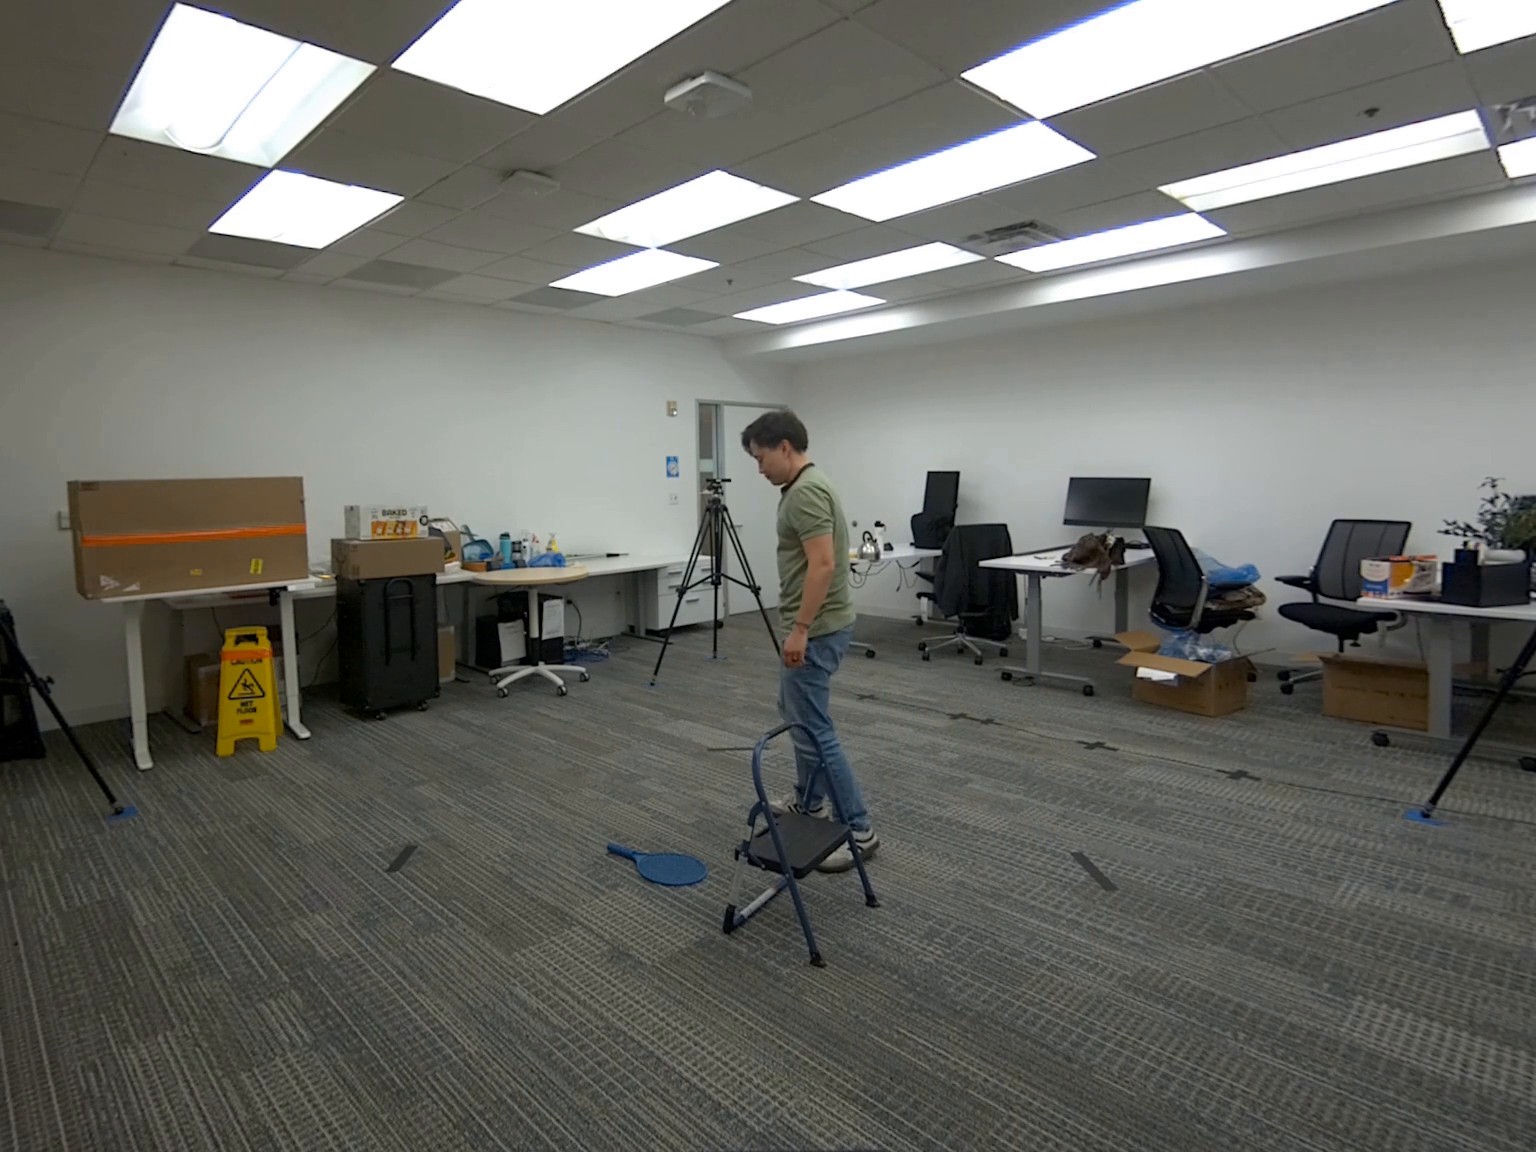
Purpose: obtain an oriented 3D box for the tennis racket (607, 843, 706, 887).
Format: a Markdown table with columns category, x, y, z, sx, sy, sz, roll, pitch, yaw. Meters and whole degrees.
| category | x | y | z | sx | sy | sz | roll | pitch | yaw |
| --- | --- | --- | --- | --- | --- | --- | --- | --- | --- |
| tennis racket | -0.412 | 1.038 | 3.096 | 0.445 | 0.031 | 0.209 | 4 | 8 | 32 |
